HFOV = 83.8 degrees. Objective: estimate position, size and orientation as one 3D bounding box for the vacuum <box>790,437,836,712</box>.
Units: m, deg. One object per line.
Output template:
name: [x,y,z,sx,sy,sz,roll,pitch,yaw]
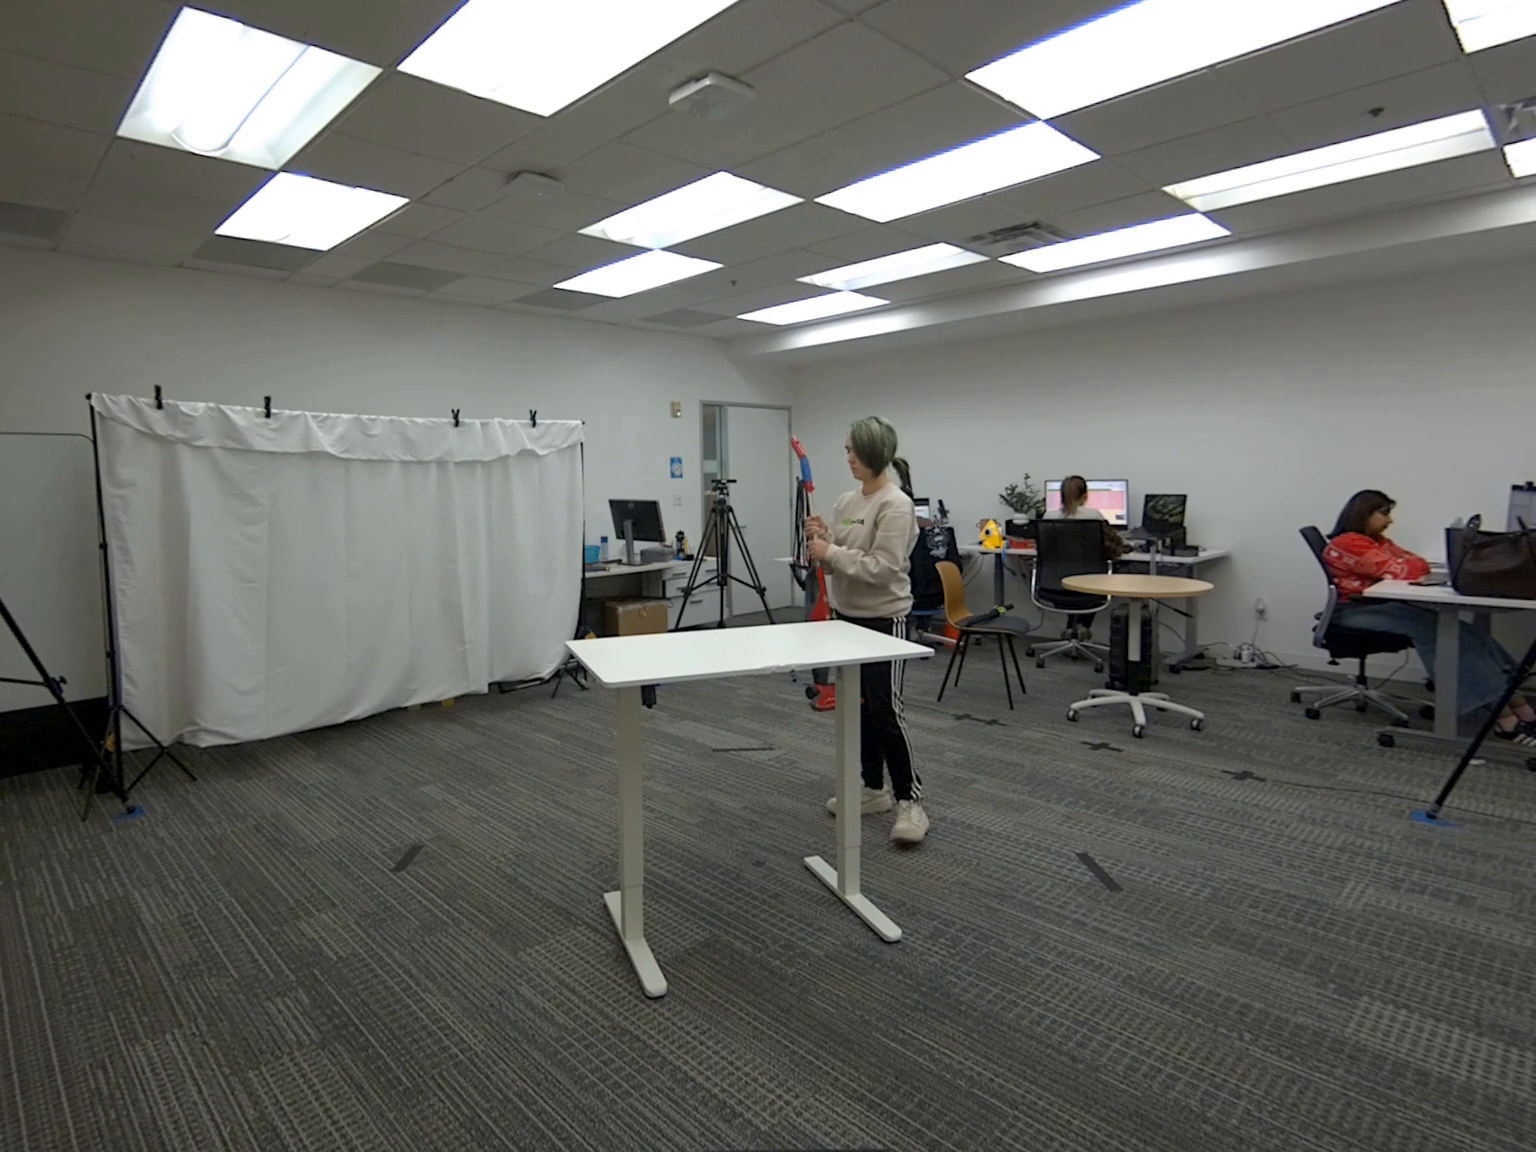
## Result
vacuum: [0.172,-0.033,3.398,0.245,1.060,0.146,-1,-12,-38]
